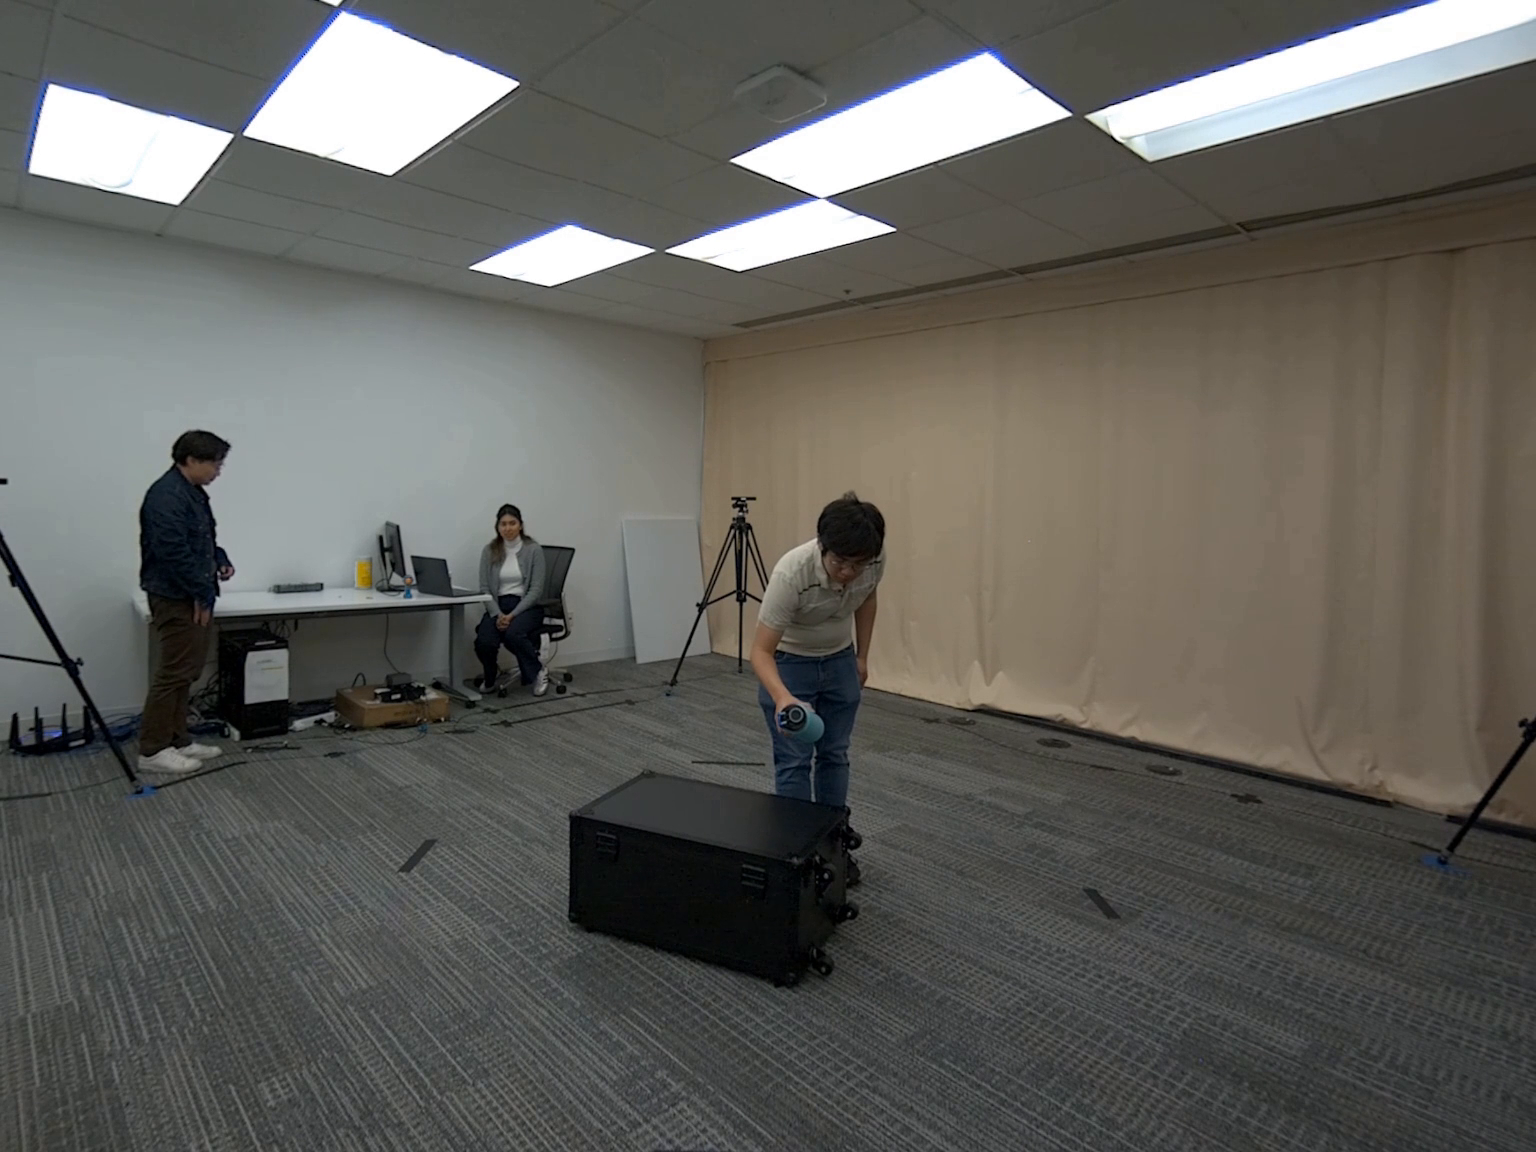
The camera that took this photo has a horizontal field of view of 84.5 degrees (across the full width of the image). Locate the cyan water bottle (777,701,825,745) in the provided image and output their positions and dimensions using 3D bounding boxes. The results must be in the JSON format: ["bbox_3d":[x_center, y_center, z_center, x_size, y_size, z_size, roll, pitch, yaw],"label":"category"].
[{"bbox_3d":[0.085,0.452,2.572,0.094,0.093,0.276,3,-16,17],"label":"cyan water bottle"}]
